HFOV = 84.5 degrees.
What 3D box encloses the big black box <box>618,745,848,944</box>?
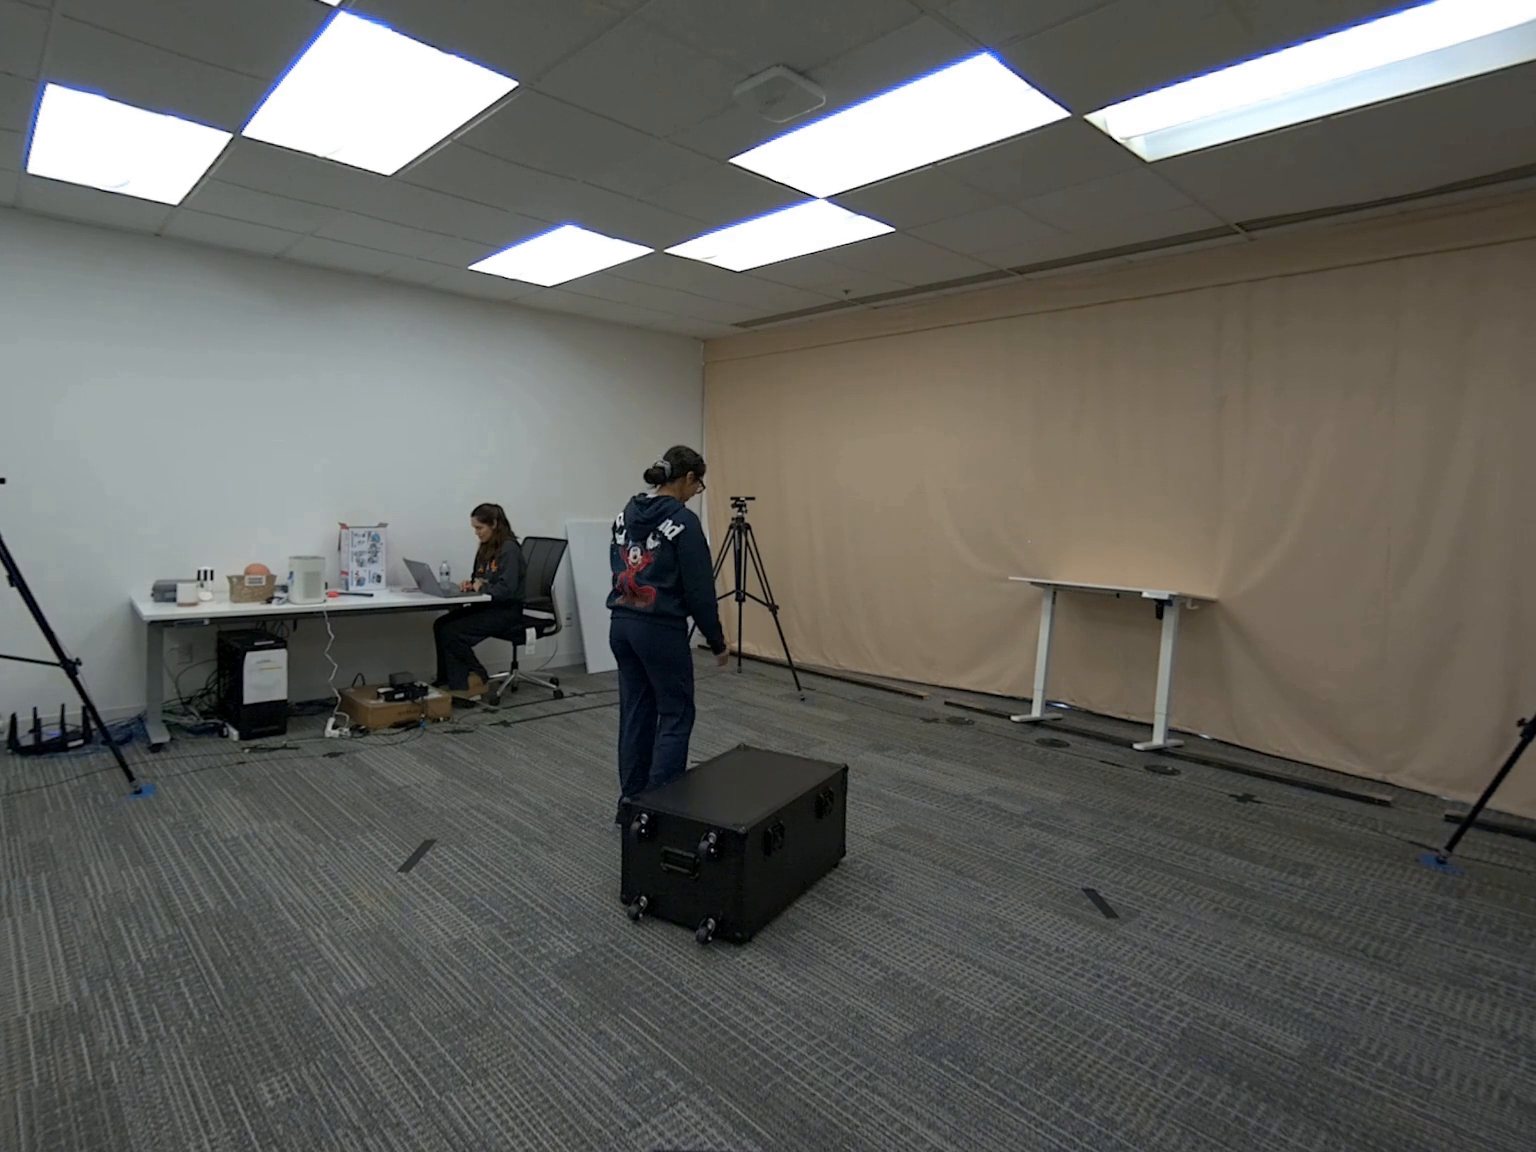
[{"bbox_3d":[-0.117,0.926,3.000,0.532,0.395,0.845,3,5,29],"label":"big black box"}]
